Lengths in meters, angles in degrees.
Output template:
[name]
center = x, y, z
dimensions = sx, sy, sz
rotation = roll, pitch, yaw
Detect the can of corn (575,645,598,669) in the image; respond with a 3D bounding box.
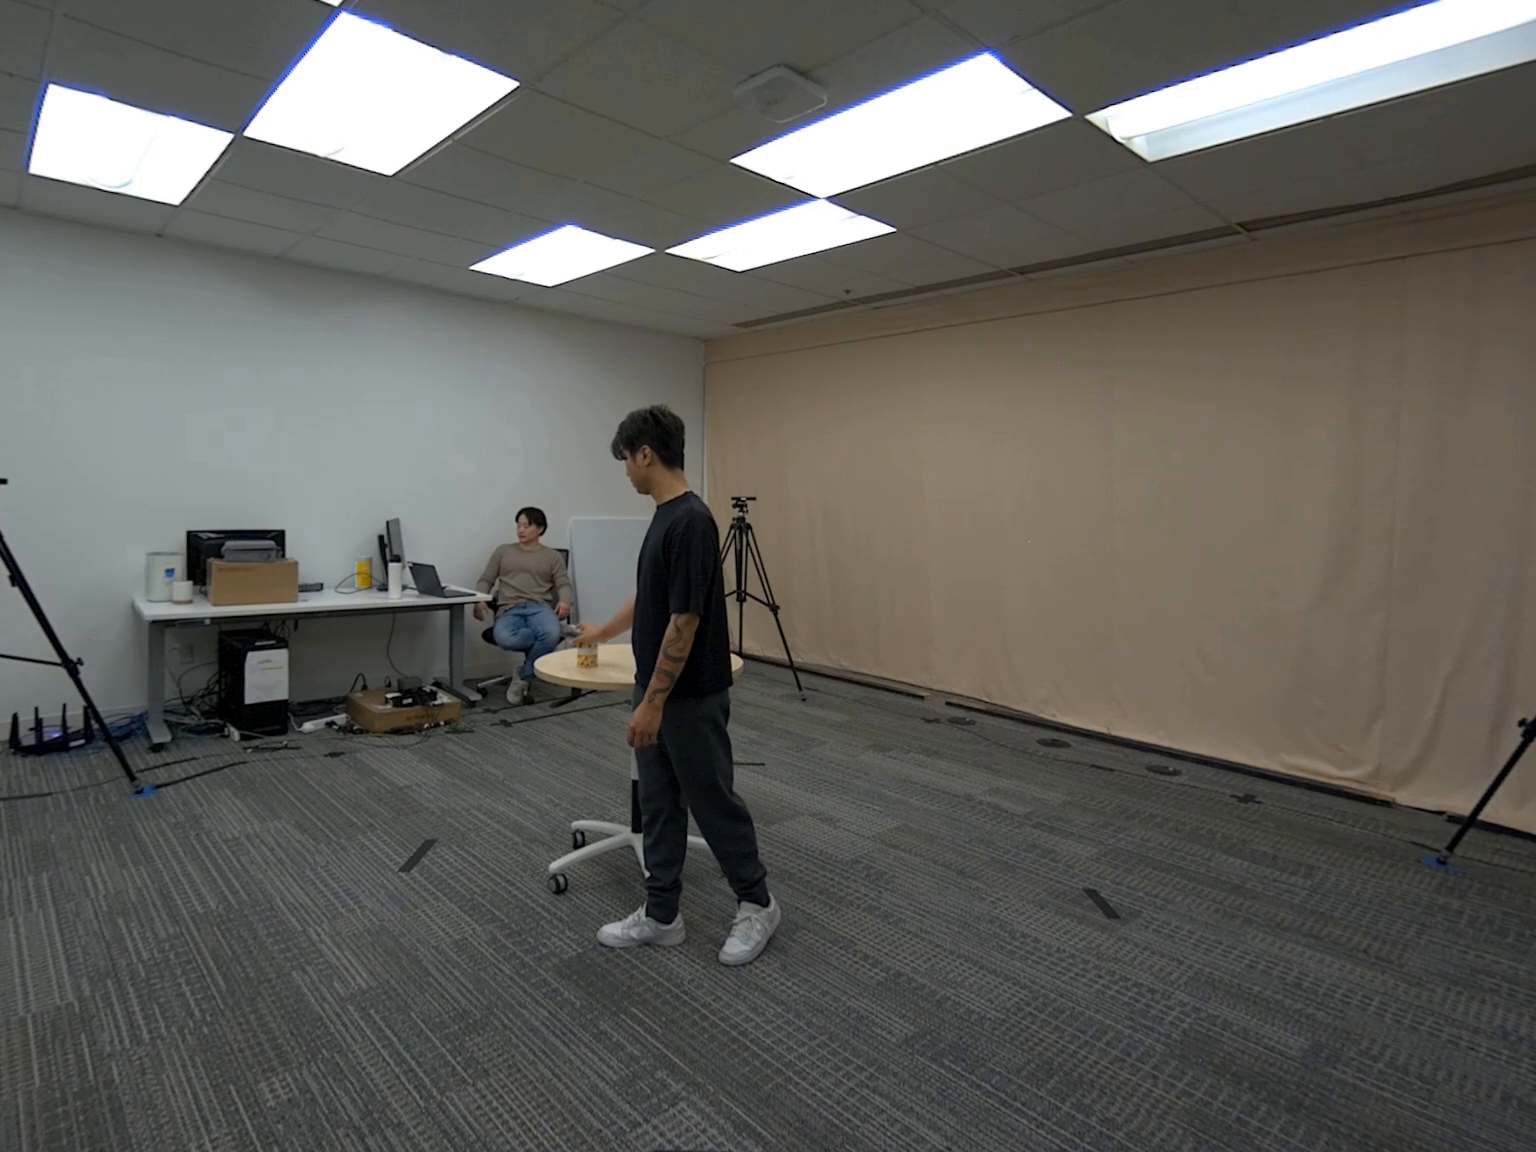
[can of corn]
center = -0.650, 0.267, 3.001
dimensions = 0.074, 0.110, 0.074
rotation = 2, 6, -2
